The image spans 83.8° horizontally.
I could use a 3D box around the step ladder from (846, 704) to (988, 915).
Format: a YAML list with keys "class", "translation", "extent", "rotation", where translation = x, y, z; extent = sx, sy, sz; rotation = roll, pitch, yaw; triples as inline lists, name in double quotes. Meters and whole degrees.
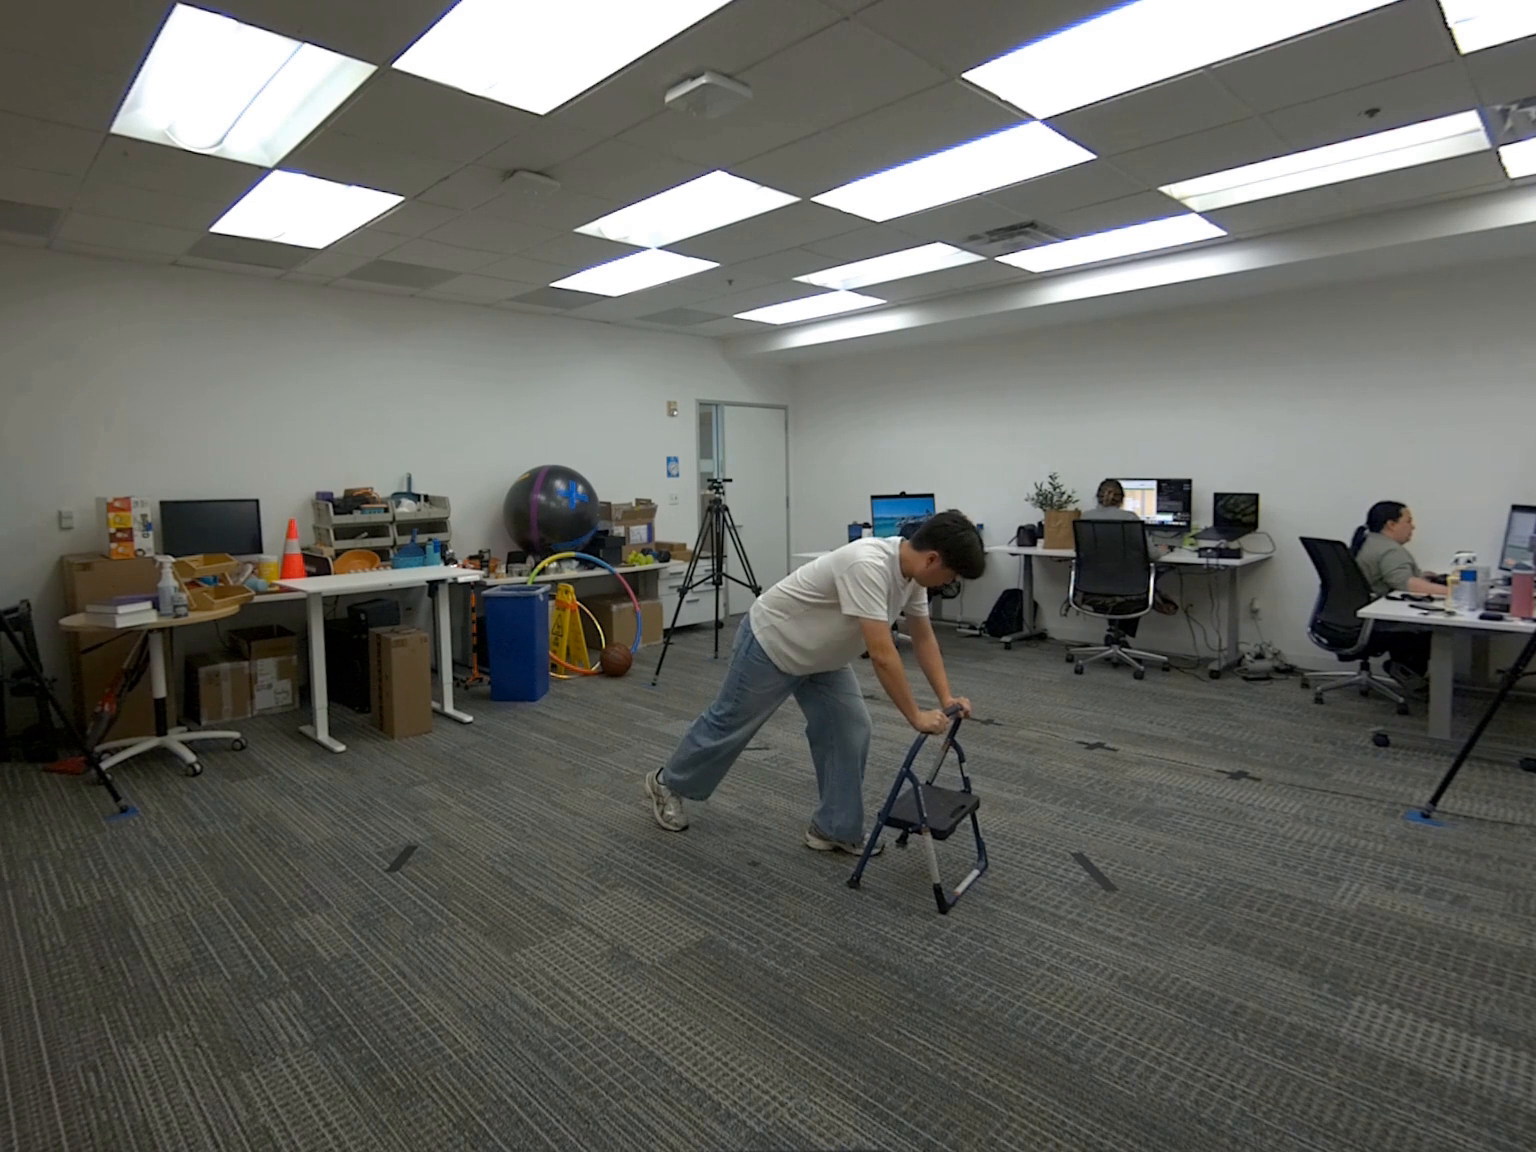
- class: "step ladder"
  translation: [0.538, 0.746, 2.953]
  extent: [0.359, 0.603, 0.420]
  rotation: [4, 7, 33]
